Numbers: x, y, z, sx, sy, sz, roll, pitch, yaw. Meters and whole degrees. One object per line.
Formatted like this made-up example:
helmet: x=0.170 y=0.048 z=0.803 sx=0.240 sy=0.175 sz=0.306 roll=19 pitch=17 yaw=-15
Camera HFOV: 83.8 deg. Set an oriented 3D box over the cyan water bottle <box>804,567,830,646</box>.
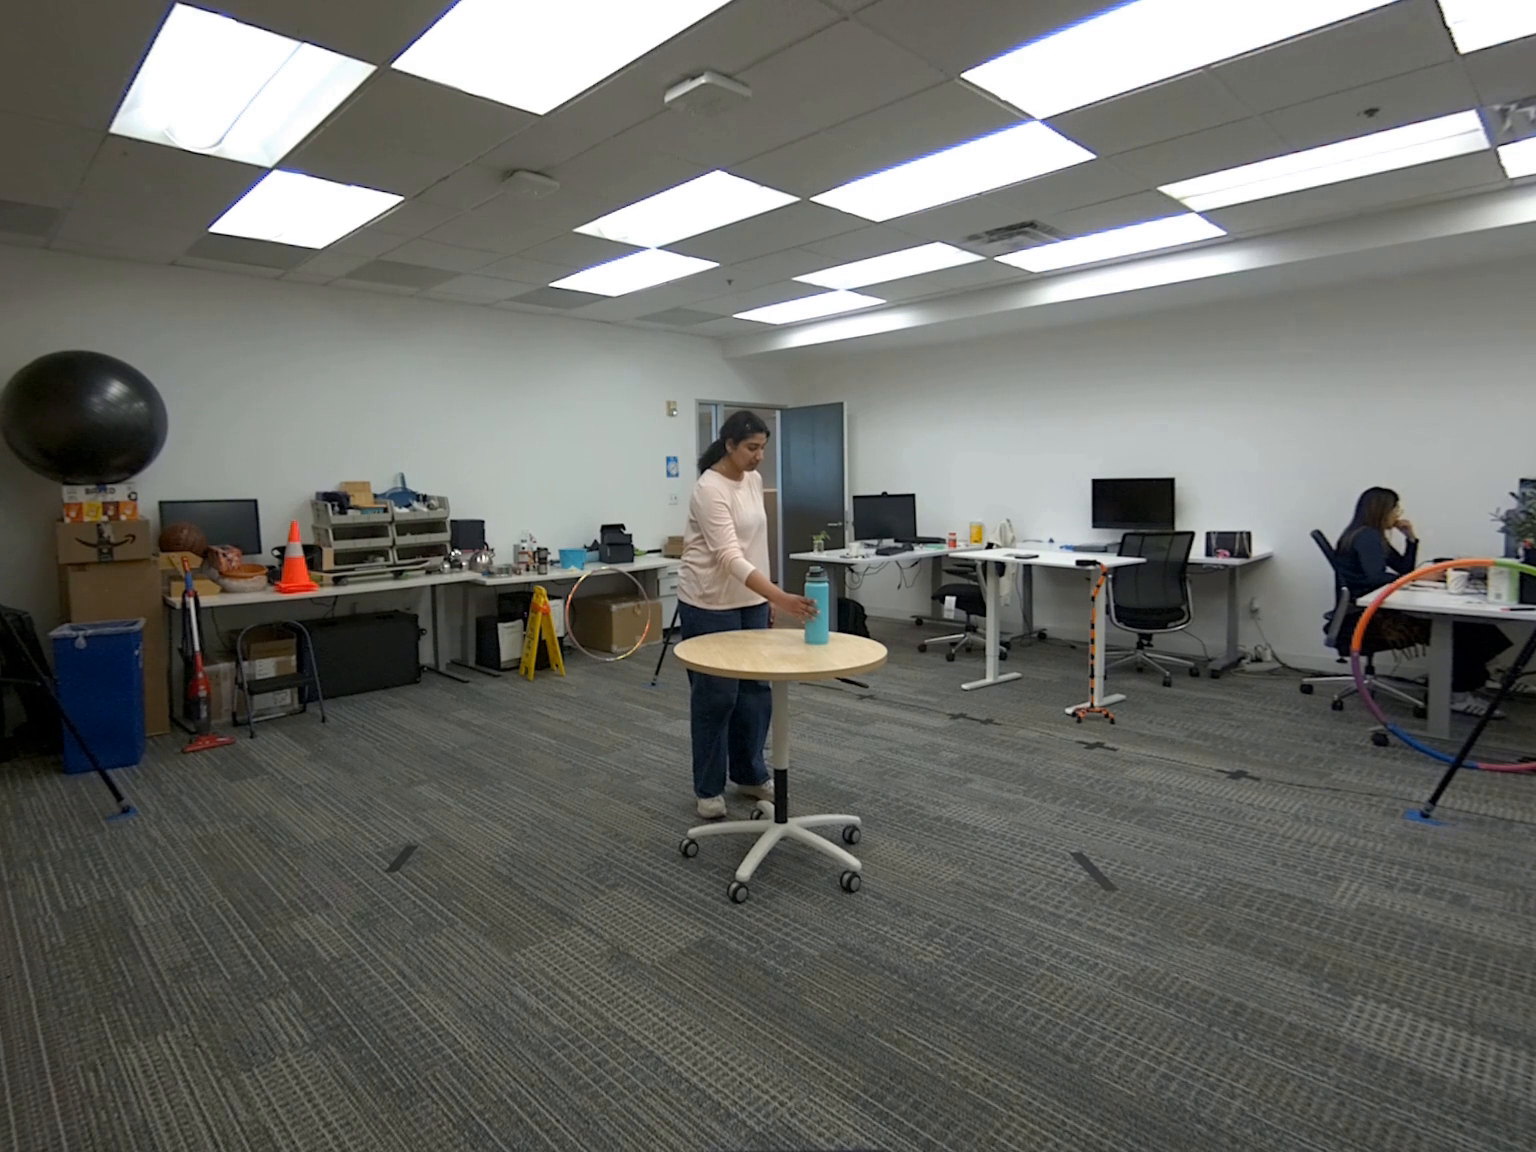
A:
cyan water bottle: x=0.191 y=0.108 z=3.181 sx=0.092 sy=0.282 sz=0.093 roll=0 pitch=3 yaw=-2
